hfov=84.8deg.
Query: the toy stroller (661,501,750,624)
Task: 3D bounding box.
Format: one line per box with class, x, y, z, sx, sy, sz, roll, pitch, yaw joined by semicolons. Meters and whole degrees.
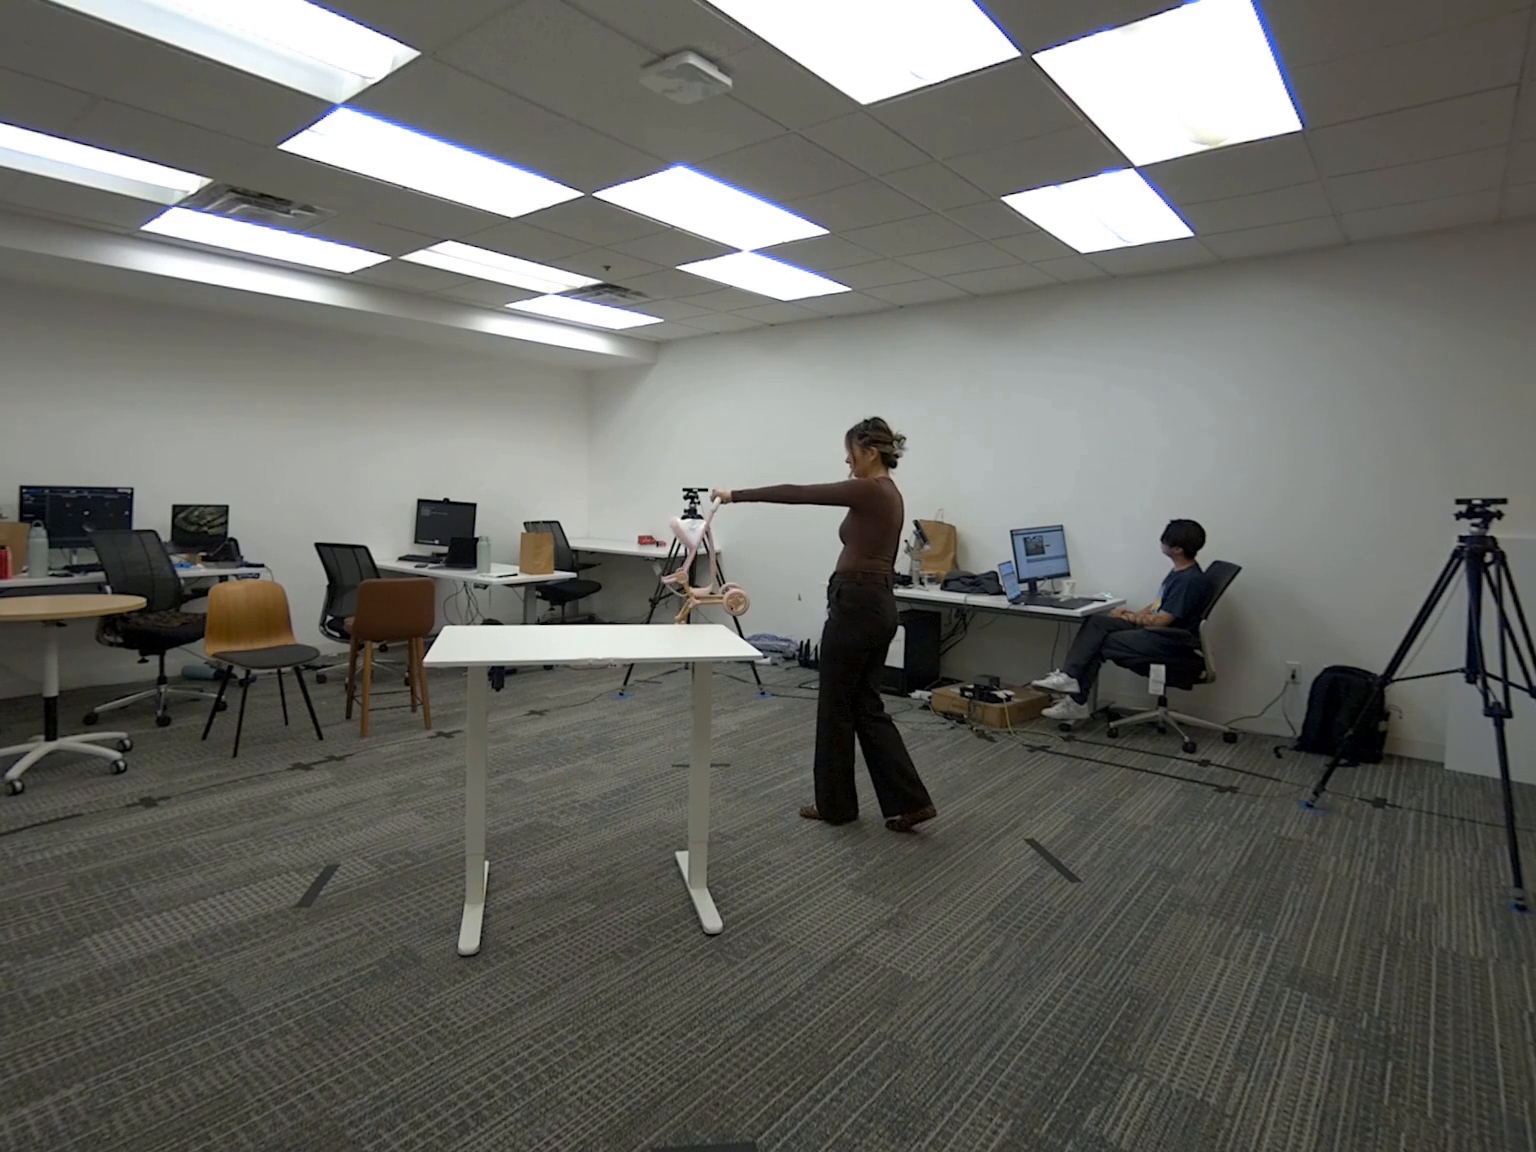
toy stroller;-0.302;-0.030;3.522;0.342;0.532;0.283;-15;5;1
